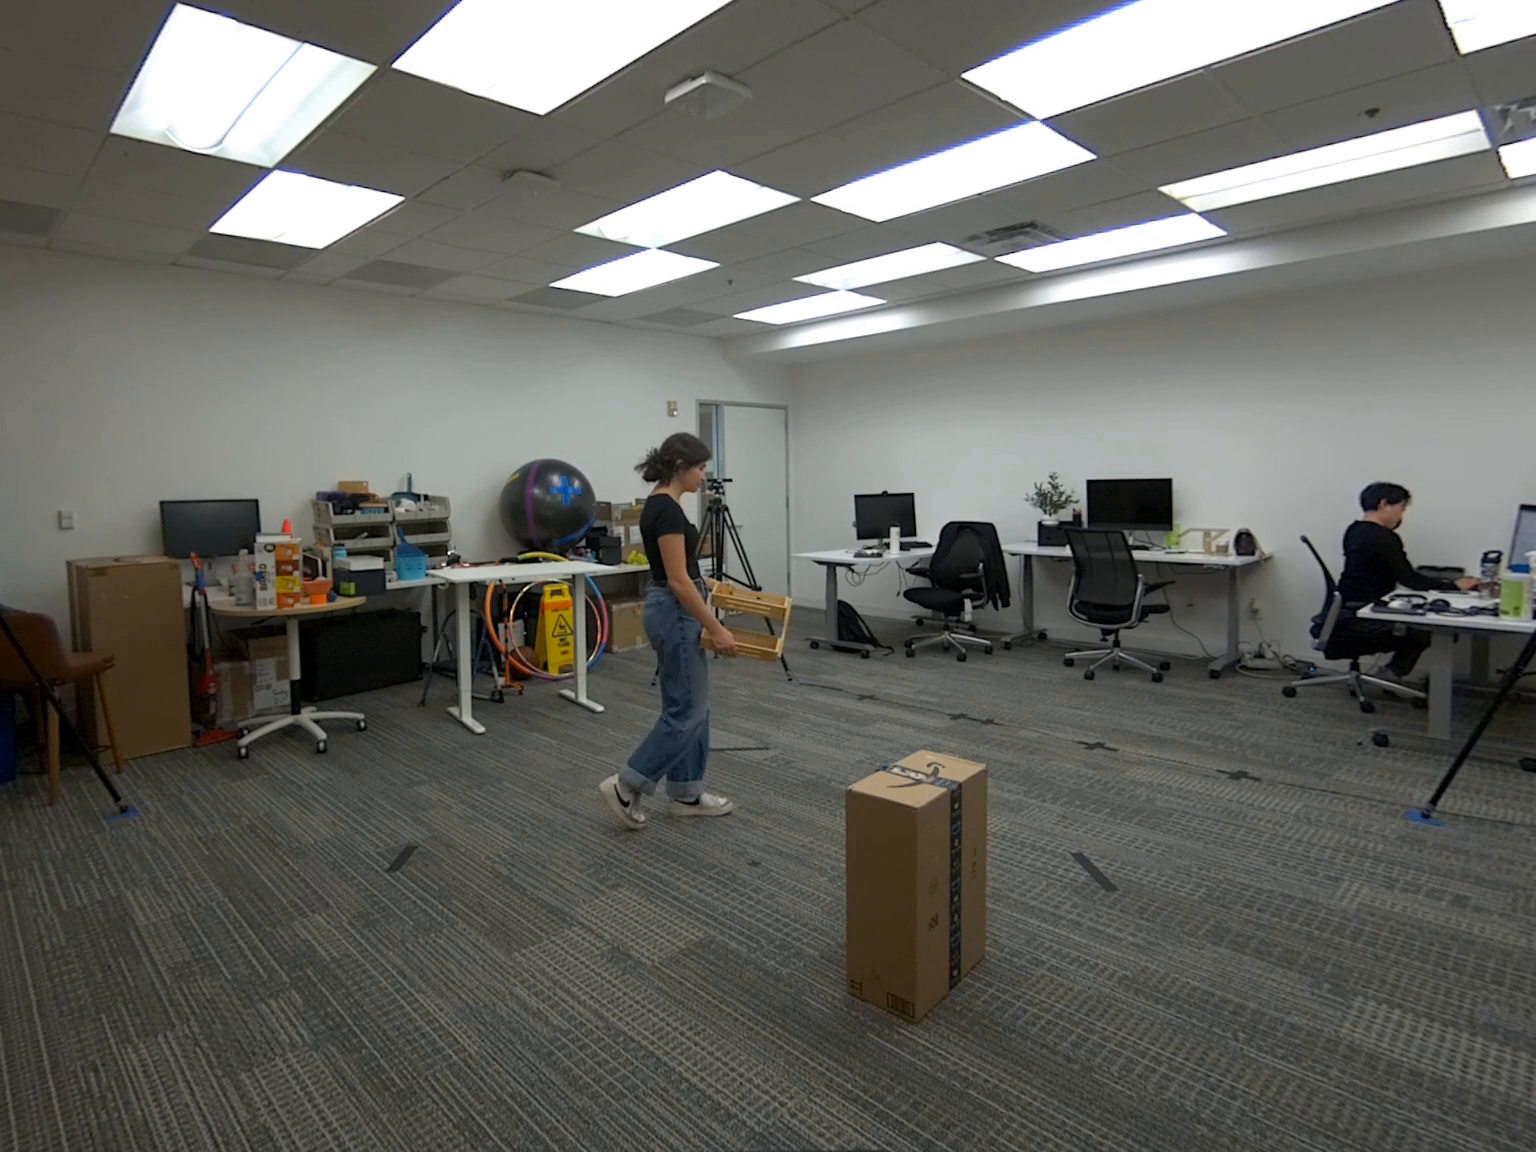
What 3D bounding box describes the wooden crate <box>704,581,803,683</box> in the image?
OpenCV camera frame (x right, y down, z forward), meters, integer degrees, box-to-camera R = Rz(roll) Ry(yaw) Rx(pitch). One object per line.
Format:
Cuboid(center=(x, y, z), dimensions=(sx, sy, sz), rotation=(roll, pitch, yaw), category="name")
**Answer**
Cuboid(center=(-0.069, 0.212, 3.383), dimensions=(0.323, 0.271, 0.306), rotation=(9, 12, -5), category="wooden crate")
